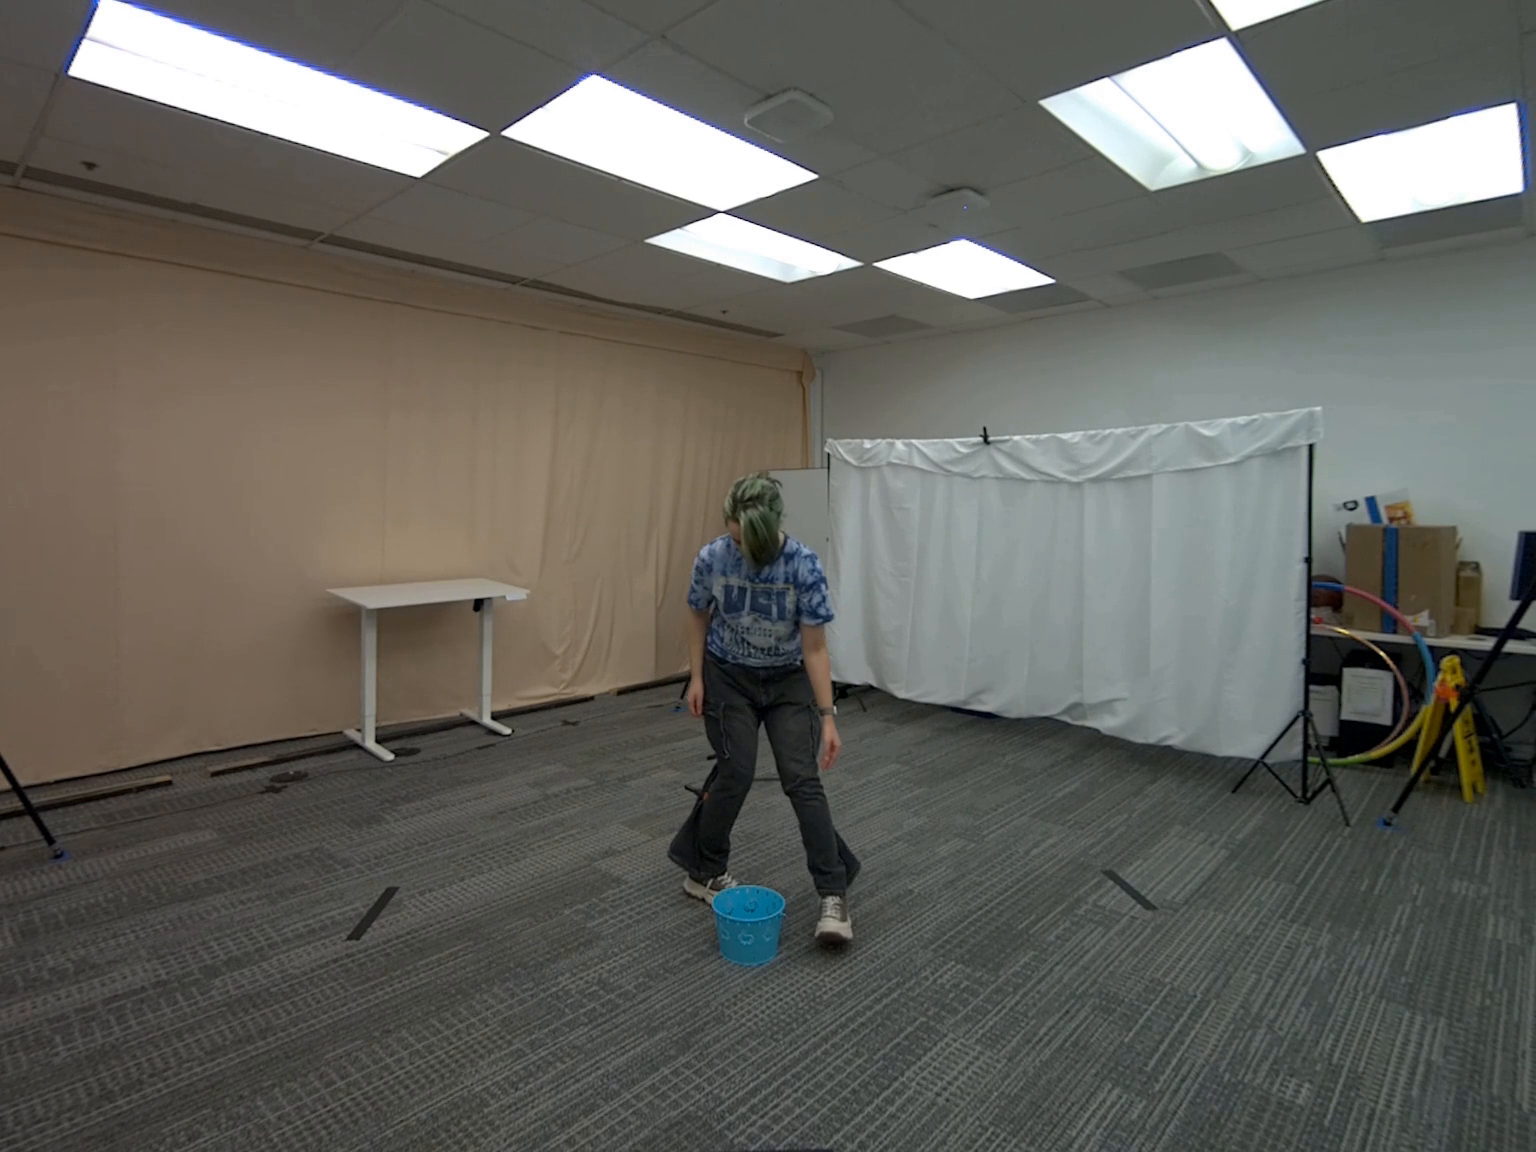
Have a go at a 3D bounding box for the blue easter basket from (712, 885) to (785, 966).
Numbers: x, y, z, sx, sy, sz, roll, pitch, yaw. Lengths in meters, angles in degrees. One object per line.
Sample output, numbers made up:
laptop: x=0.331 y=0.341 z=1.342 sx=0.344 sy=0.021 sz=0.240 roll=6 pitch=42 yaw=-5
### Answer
blue easter basket: x=-0.053 y=1.094 z=2.638 sx=0.243 sy=0.155 sz=0.244 roll=0 pitch=3 yaw=-2
